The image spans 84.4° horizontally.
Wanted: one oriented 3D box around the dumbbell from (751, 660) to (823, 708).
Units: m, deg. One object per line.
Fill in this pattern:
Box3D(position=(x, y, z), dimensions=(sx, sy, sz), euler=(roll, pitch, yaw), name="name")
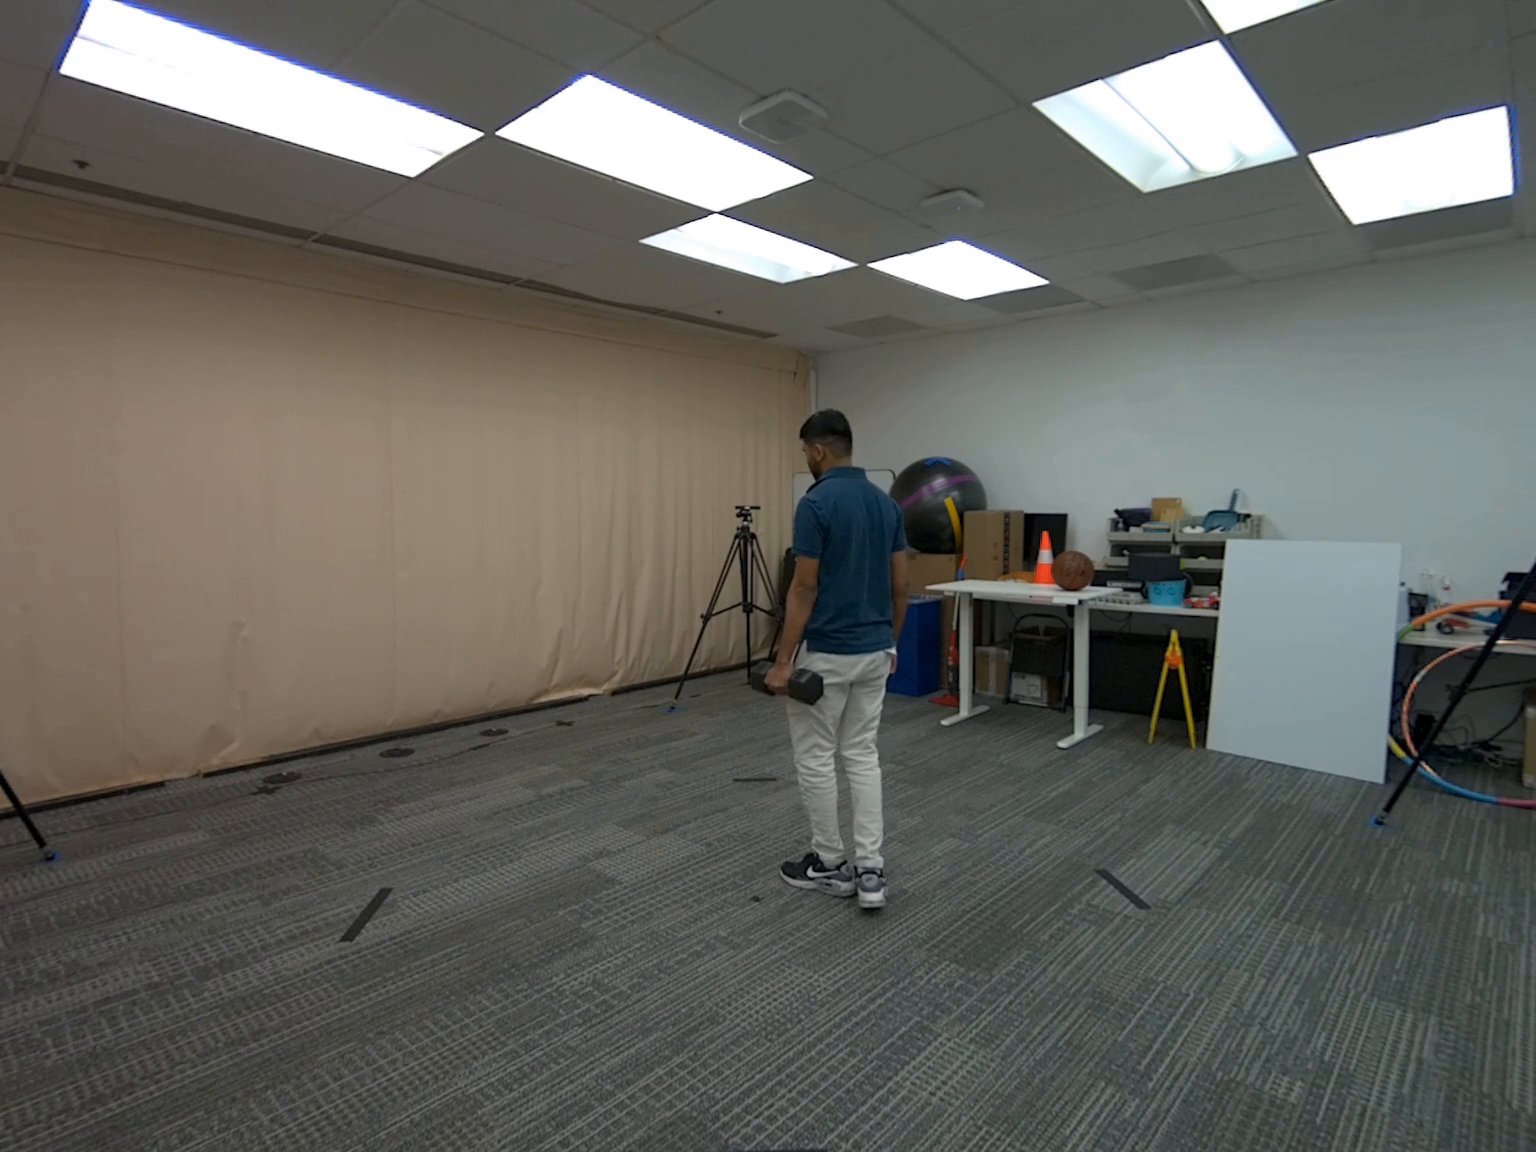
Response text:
Box3D(position=(0.073, 0.378, 2.938), dimensions=(0.106, 0.123, 0.302), euler=(-5, 5, -35), name="dumbbell")
